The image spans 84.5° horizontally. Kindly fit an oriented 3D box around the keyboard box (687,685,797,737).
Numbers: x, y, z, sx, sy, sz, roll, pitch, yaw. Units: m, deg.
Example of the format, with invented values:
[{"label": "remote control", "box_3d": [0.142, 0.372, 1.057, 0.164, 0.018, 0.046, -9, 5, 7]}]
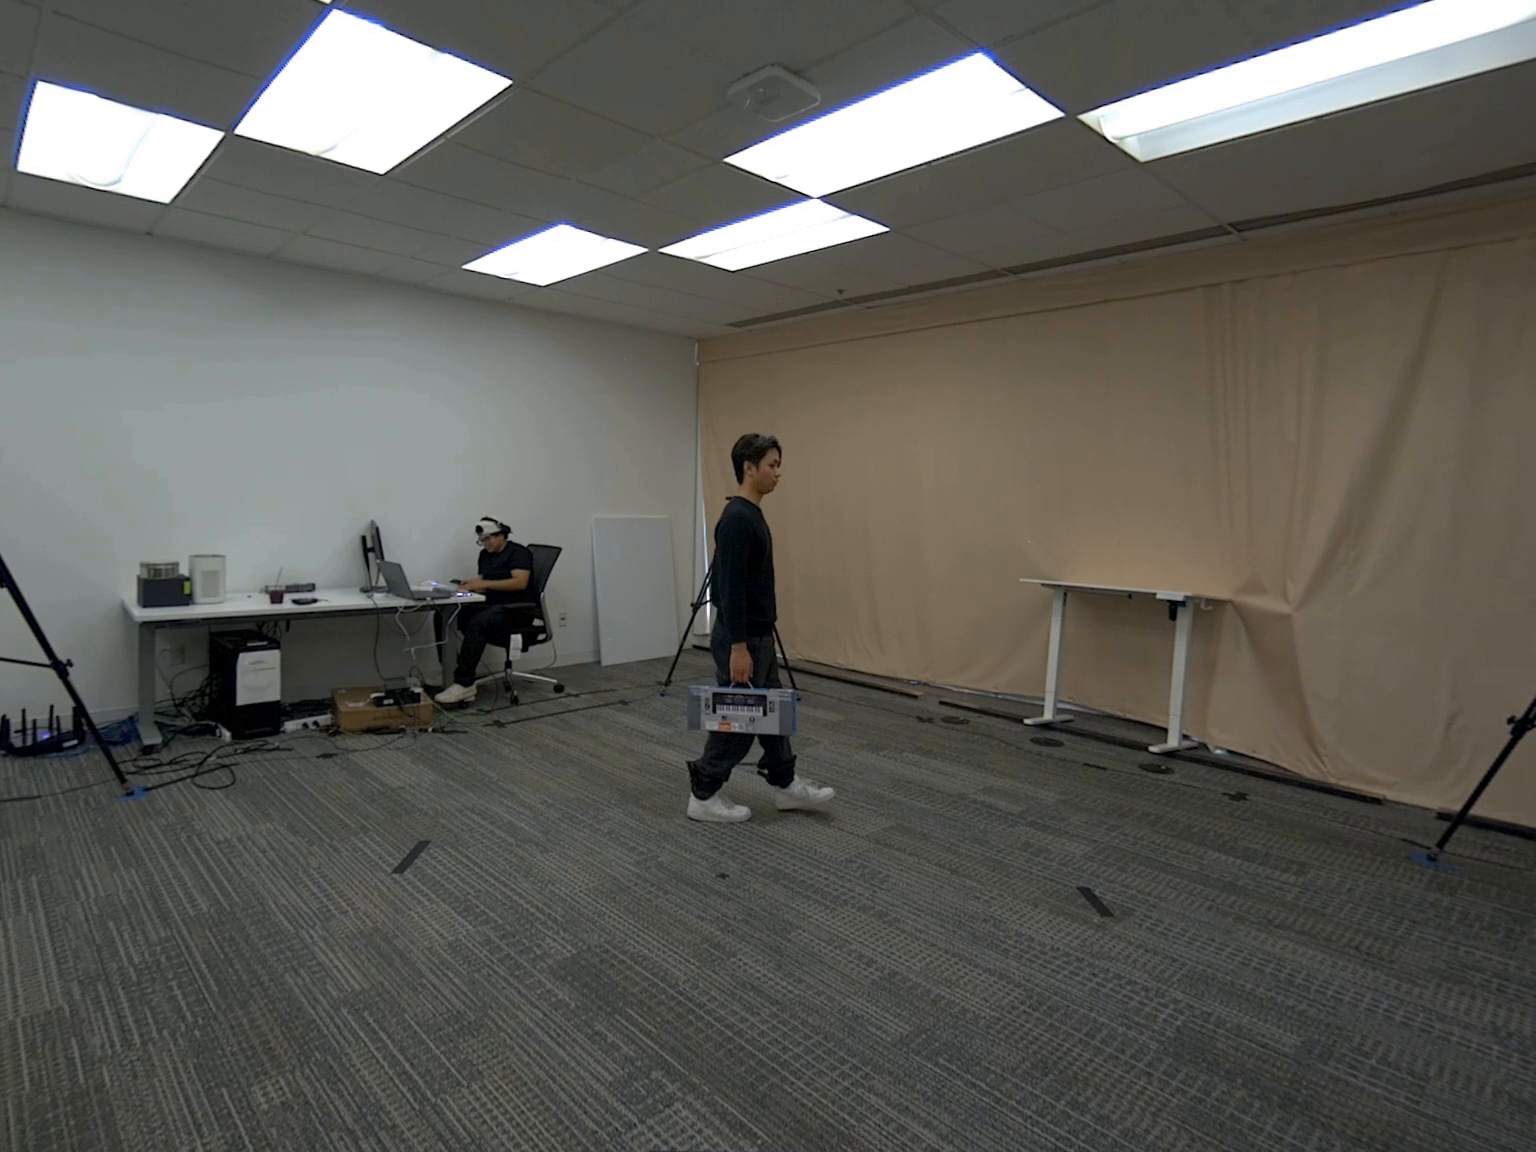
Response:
[{"label": "keyboard box", "box_3d": [-0.111, 0.533, 3.364, 0.442, 0.176, 0.058, 1, -1, 17]}]
